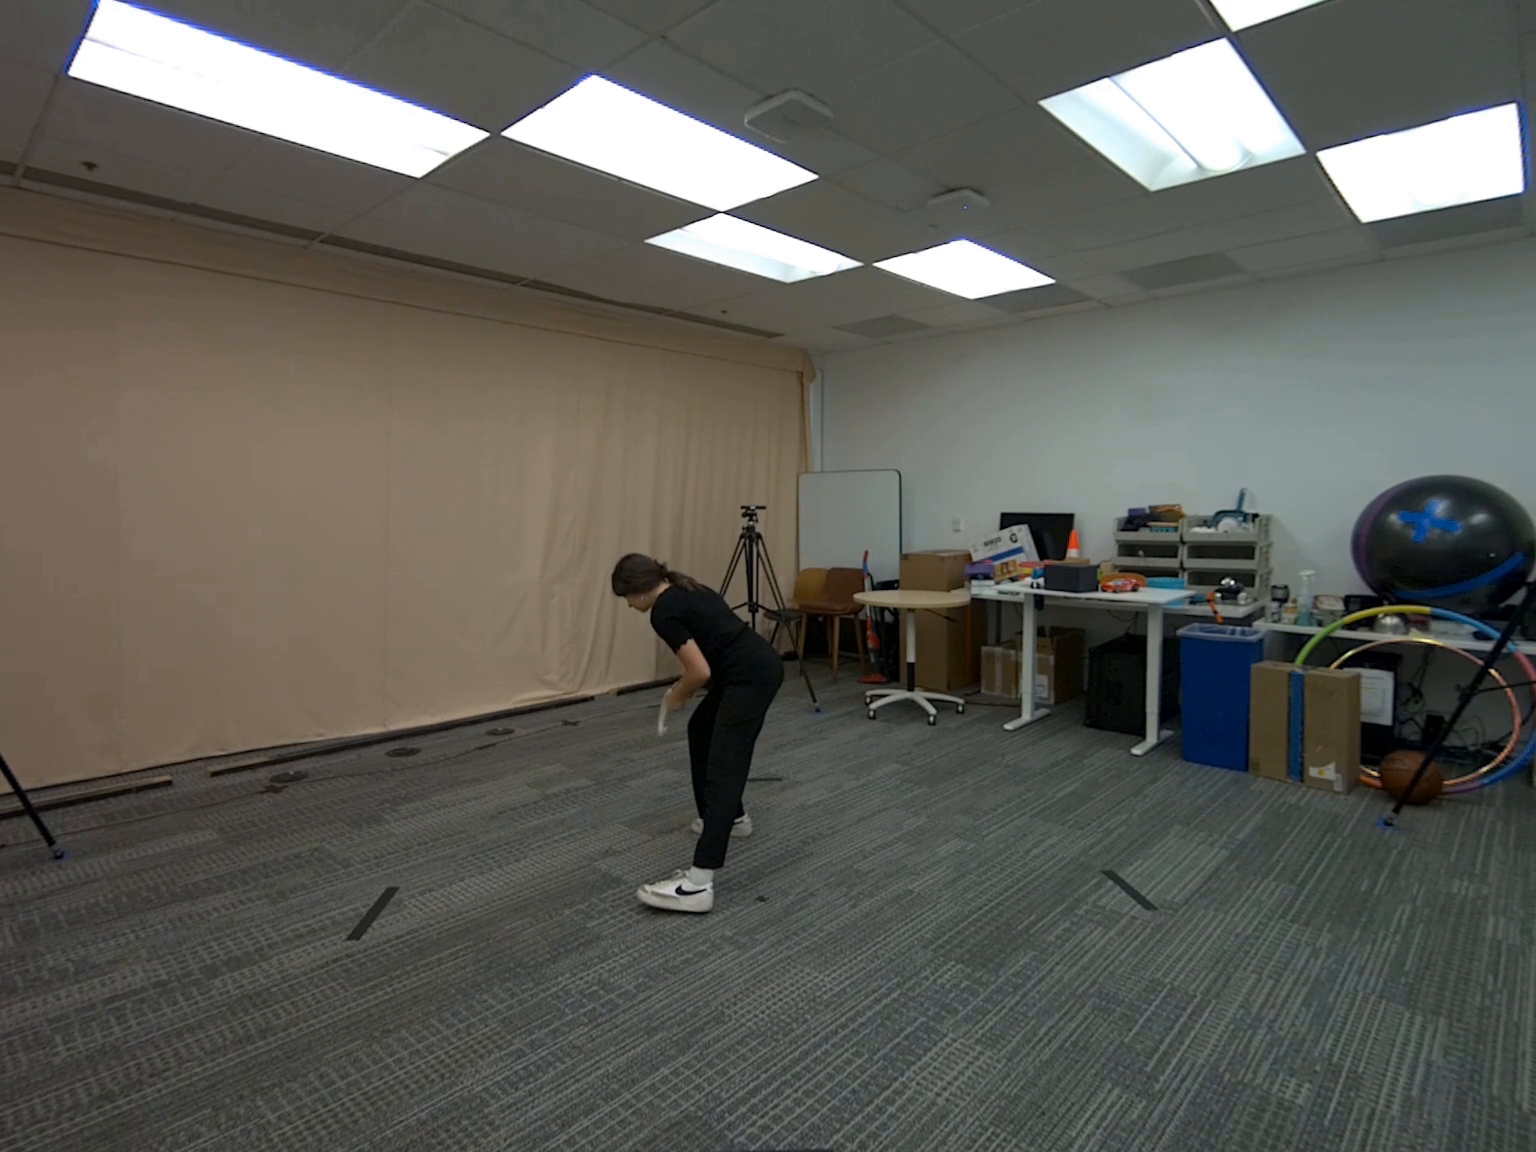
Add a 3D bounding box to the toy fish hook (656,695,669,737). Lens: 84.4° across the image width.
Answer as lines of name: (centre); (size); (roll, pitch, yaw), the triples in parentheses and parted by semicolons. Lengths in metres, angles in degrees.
toy fish hook: (-0.431, 0.572, 3.700); (0.048, 0.227, 0.506); (10, -23, -10)
